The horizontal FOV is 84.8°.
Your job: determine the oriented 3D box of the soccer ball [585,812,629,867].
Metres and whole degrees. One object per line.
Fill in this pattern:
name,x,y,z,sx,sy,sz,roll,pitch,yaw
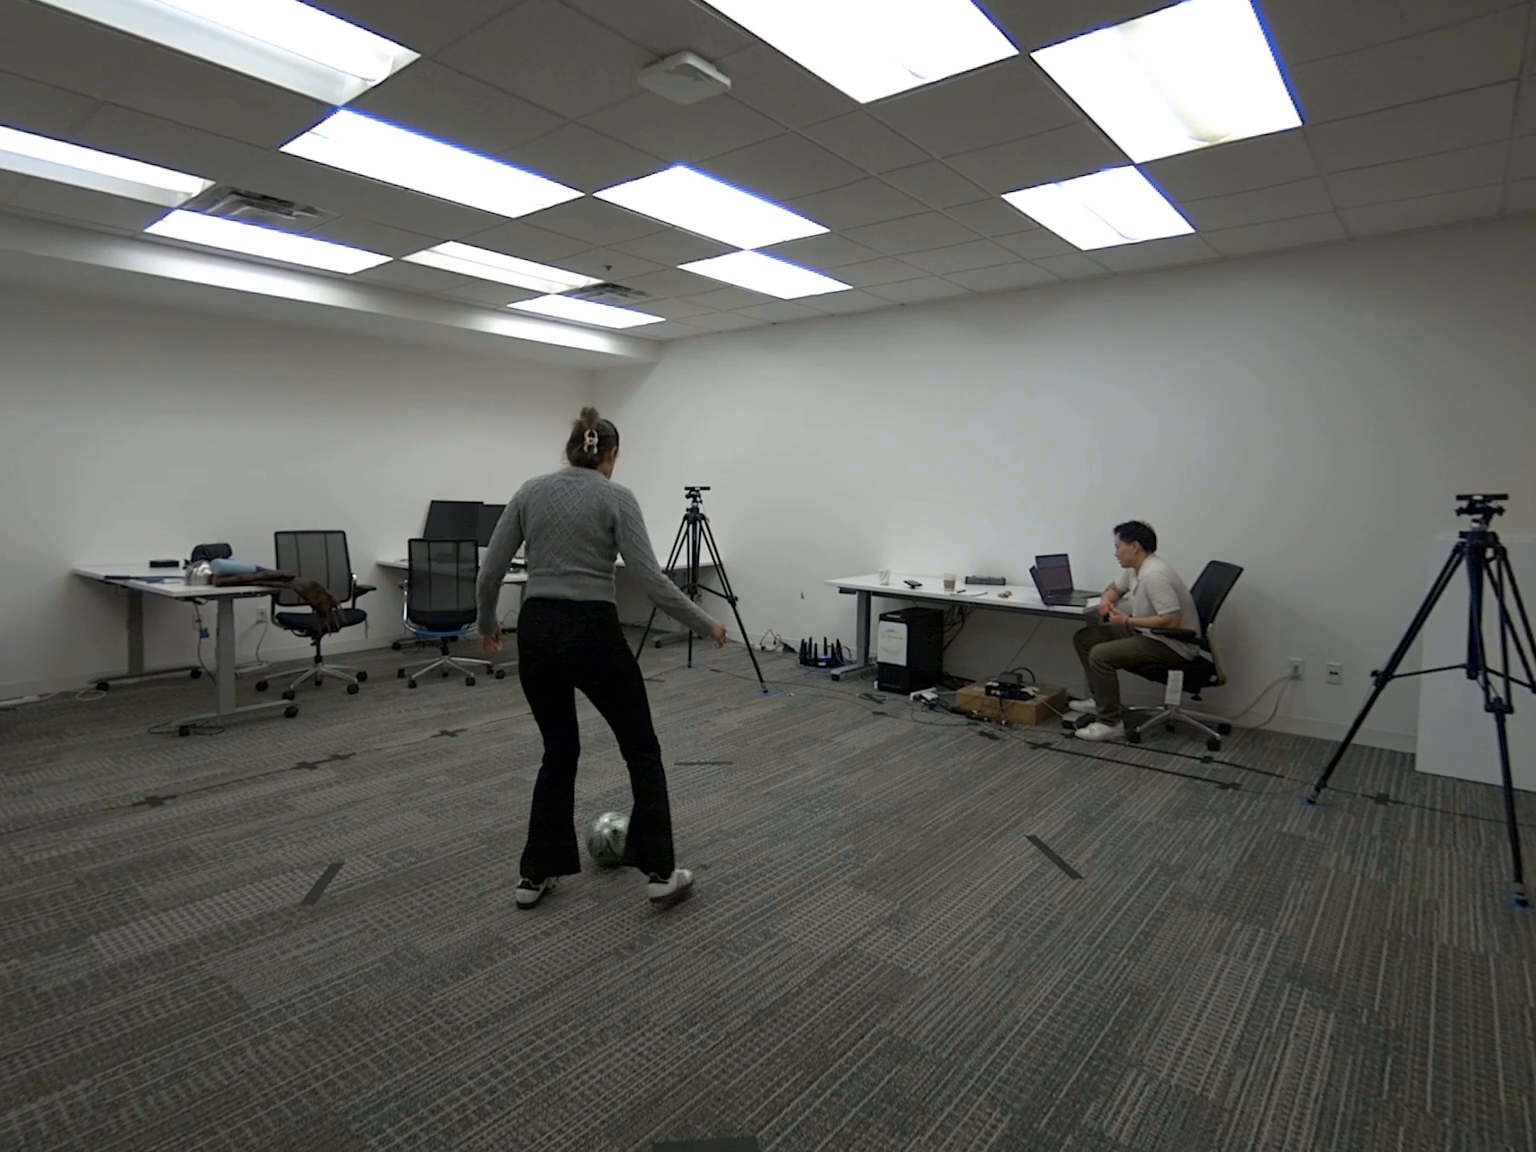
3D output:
soccer ball,-0.590,0.960,3.142,0.187,0.187,0.188,1,4,-2
